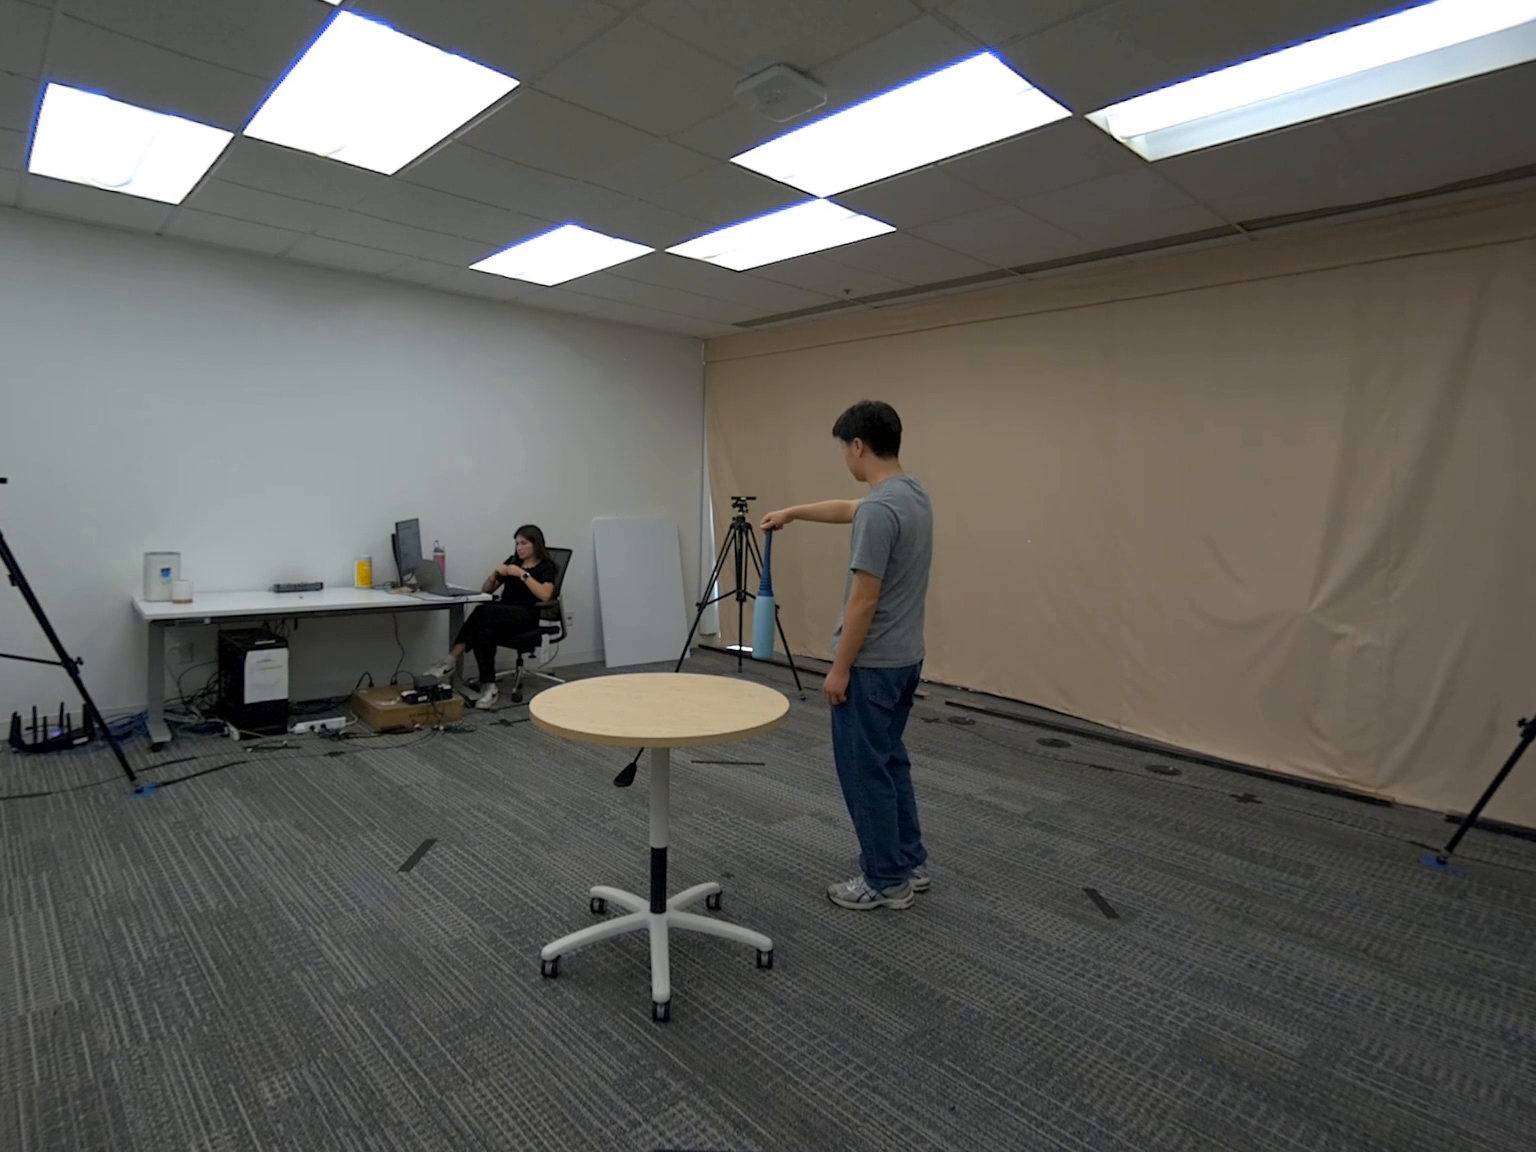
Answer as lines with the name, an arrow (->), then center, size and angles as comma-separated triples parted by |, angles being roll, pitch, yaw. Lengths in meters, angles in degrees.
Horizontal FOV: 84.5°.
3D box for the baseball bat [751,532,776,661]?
baseball bat -> -0.015, 0.063, 3.345 | 0.089, 0.542, 0.089 | 3, 1, -1
